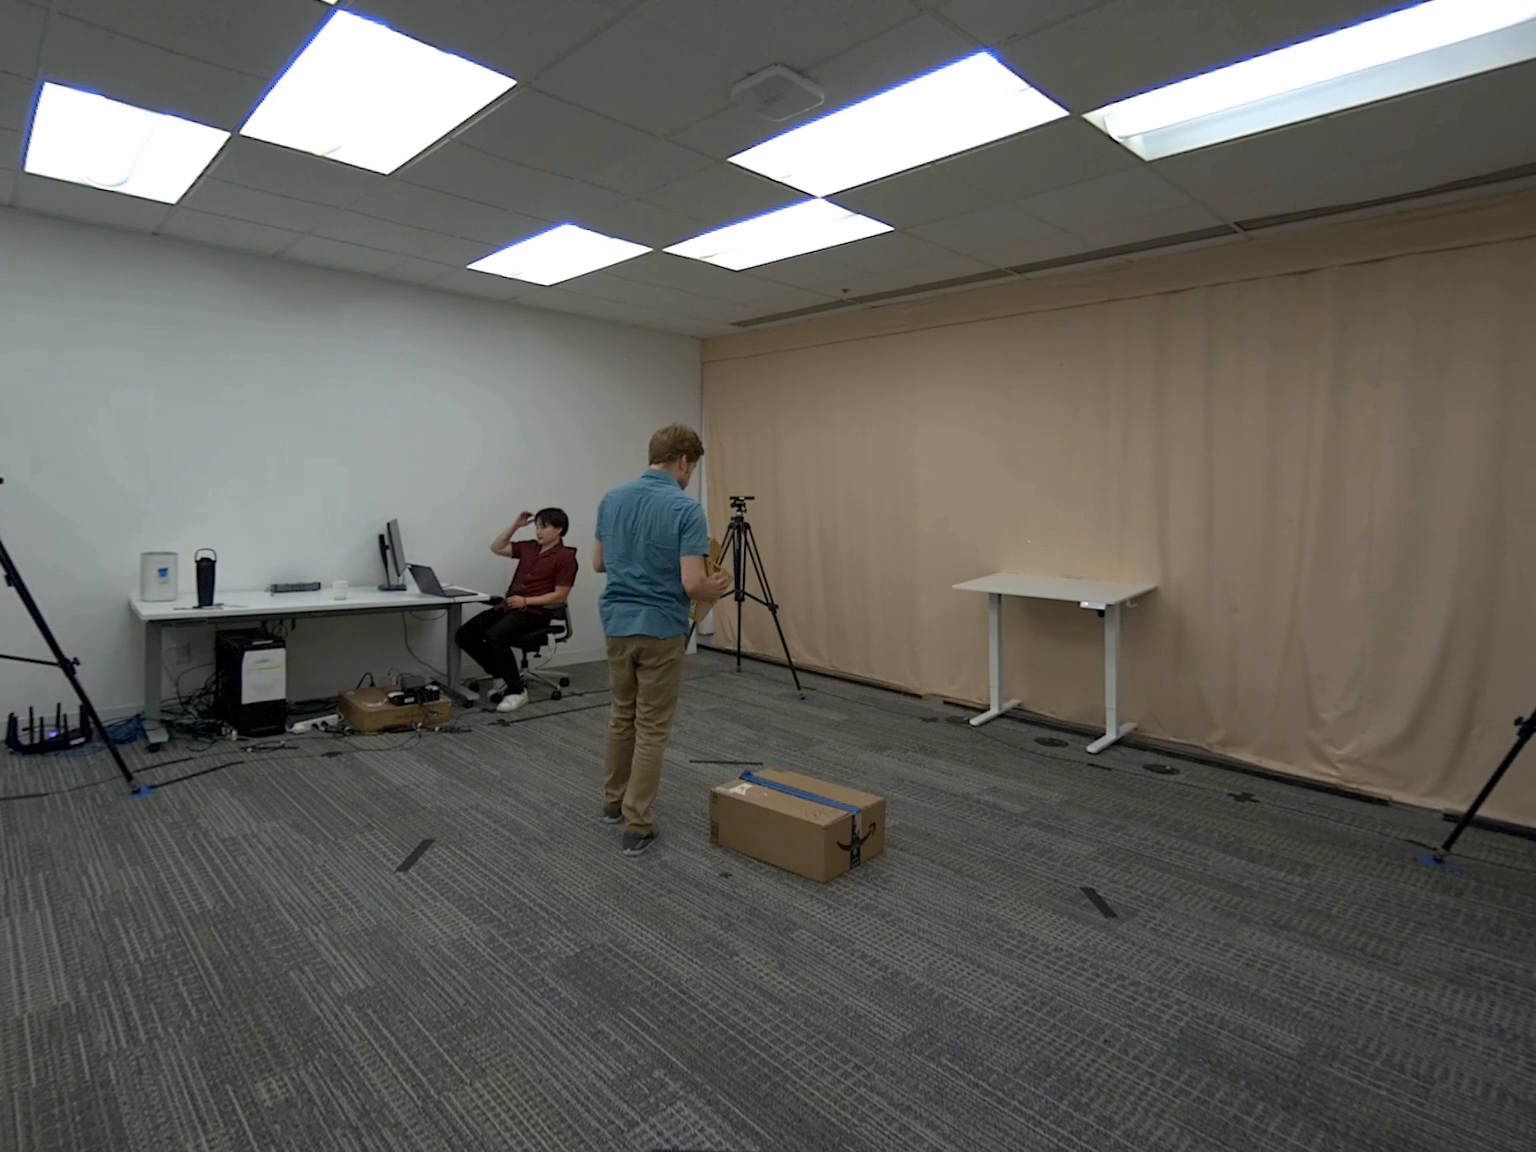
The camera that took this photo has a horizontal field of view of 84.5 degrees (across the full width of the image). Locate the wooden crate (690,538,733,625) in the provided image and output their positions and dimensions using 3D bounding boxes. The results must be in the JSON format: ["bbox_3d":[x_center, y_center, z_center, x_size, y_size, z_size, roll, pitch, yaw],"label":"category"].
[{"bbox_3d":[-0.372,-0.029,3.573,0.334,0.302,0.264,28,-15,40],"label":"wooden crate"}]
